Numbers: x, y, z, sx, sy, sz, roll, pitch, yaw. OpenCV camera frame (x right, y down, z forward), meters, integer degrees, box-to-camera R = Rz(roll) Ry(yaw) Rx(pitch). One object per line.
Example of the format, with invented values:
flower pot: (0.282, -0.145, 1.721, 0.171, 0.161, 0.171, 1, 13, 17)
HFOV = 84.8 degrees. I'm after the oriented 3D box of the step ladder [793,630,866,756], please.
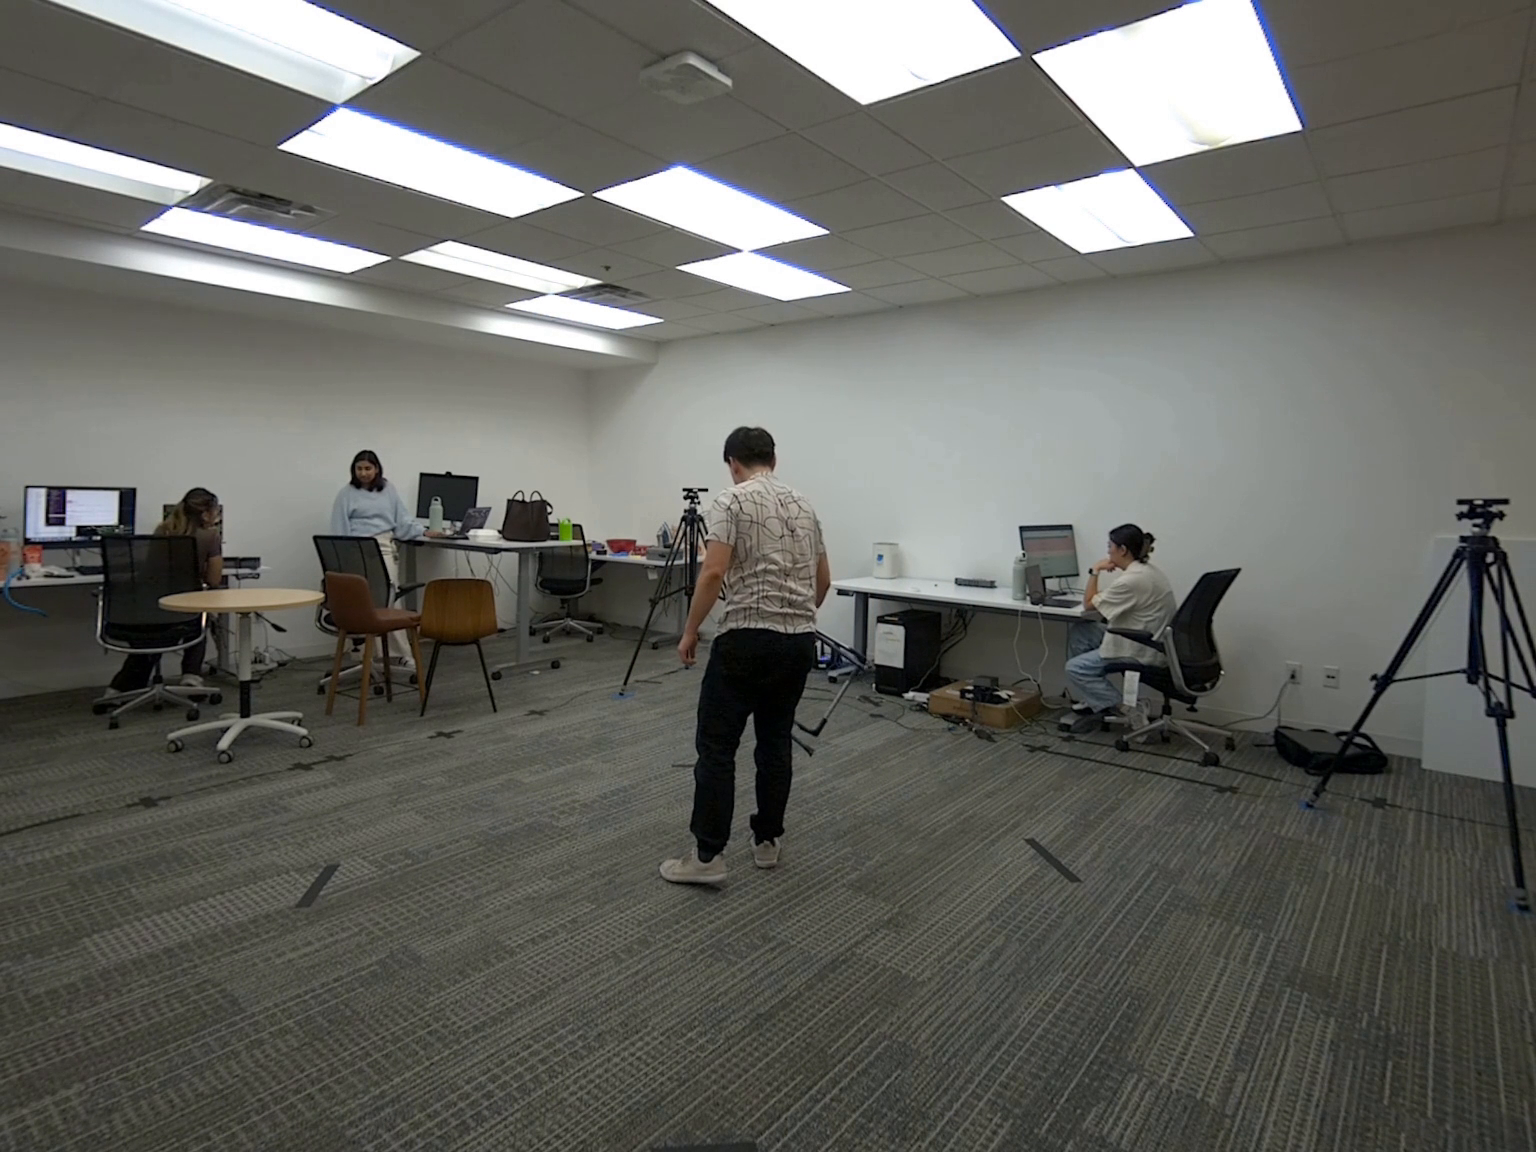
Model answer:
step ladder: (0.043, 0.369, 3.582, 0.614, 0.430, 0.345, 33, 4, 8)
